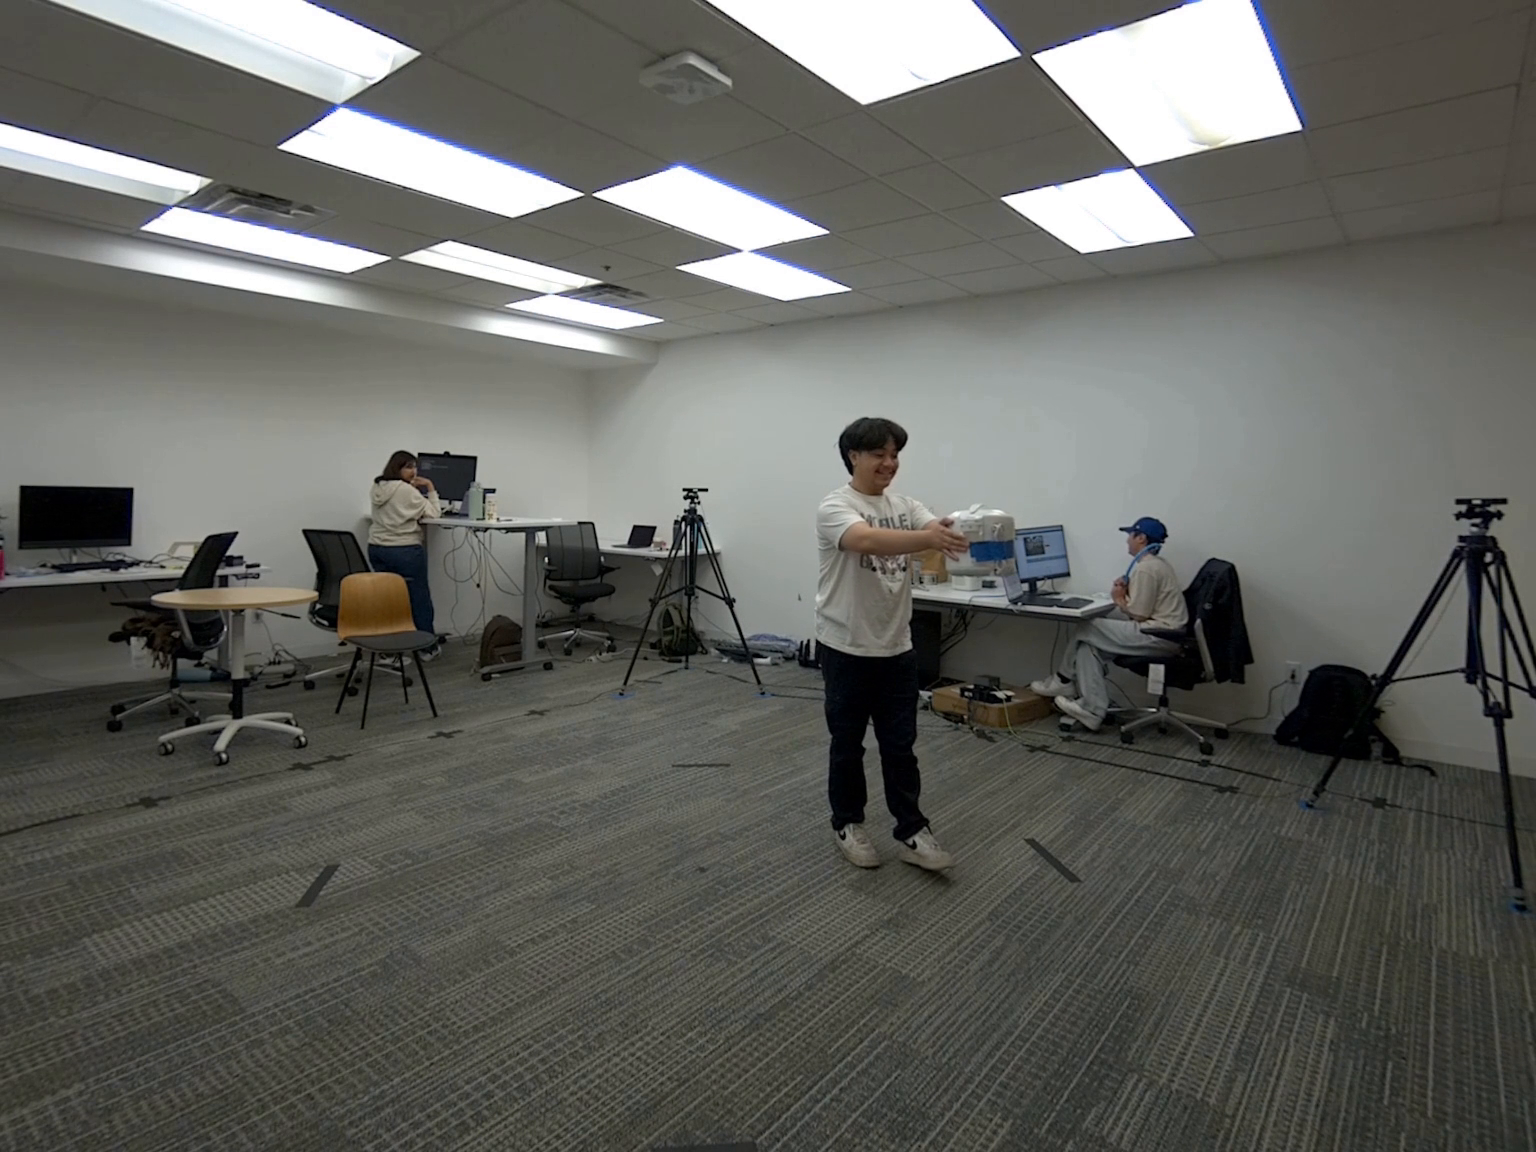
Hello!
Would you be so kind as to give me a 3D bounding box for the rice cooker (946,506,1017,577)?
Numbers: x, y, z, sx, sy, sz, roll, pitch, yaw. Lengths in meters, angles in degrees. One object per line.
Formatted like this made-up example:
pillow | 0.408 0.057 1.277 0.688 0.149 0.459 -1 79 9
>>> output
rice cooker | 0.674 -0.117 2.704 0.223 0.233 0.214 0 -1 28
